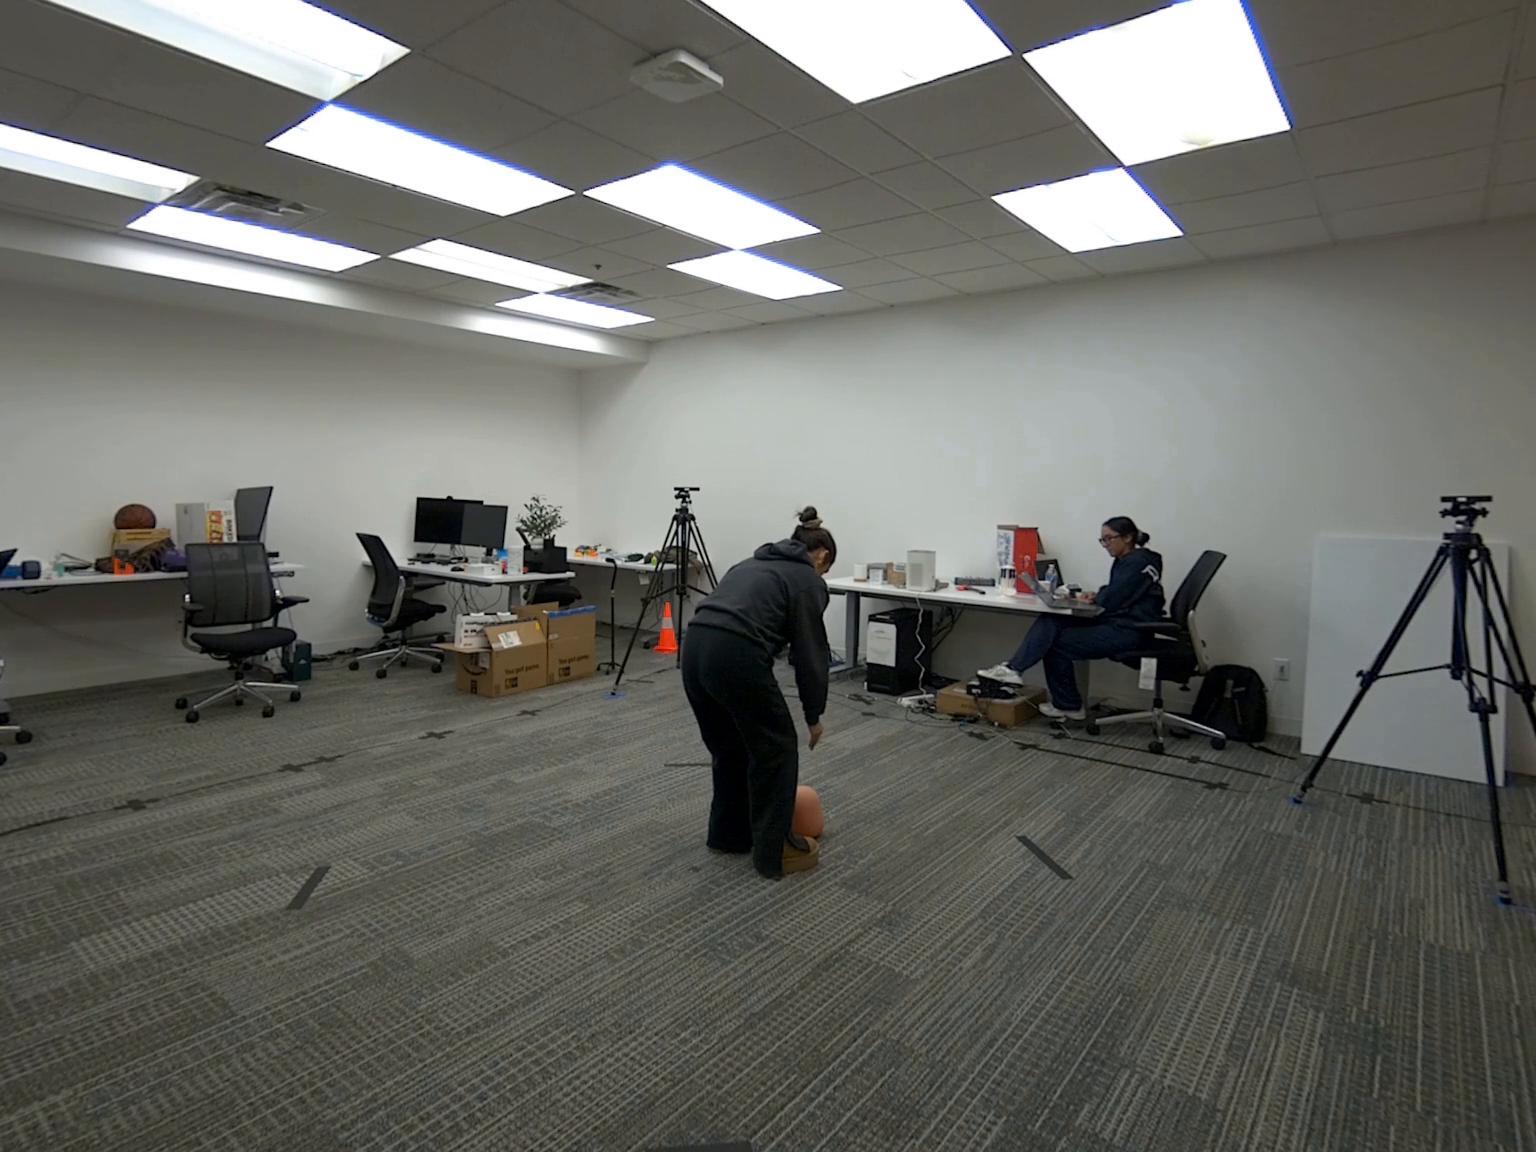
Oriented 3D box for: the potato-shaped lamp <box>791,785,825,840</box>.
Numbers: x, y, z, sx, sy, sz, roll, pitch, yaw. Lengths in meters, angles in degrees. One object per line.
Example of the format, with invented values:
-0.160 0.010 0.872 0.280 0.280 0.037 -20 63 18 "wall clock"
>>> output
0.139 0.940 3.431 0.170 0.197 0.167 5 8 30 "potato-shaped lamp"
